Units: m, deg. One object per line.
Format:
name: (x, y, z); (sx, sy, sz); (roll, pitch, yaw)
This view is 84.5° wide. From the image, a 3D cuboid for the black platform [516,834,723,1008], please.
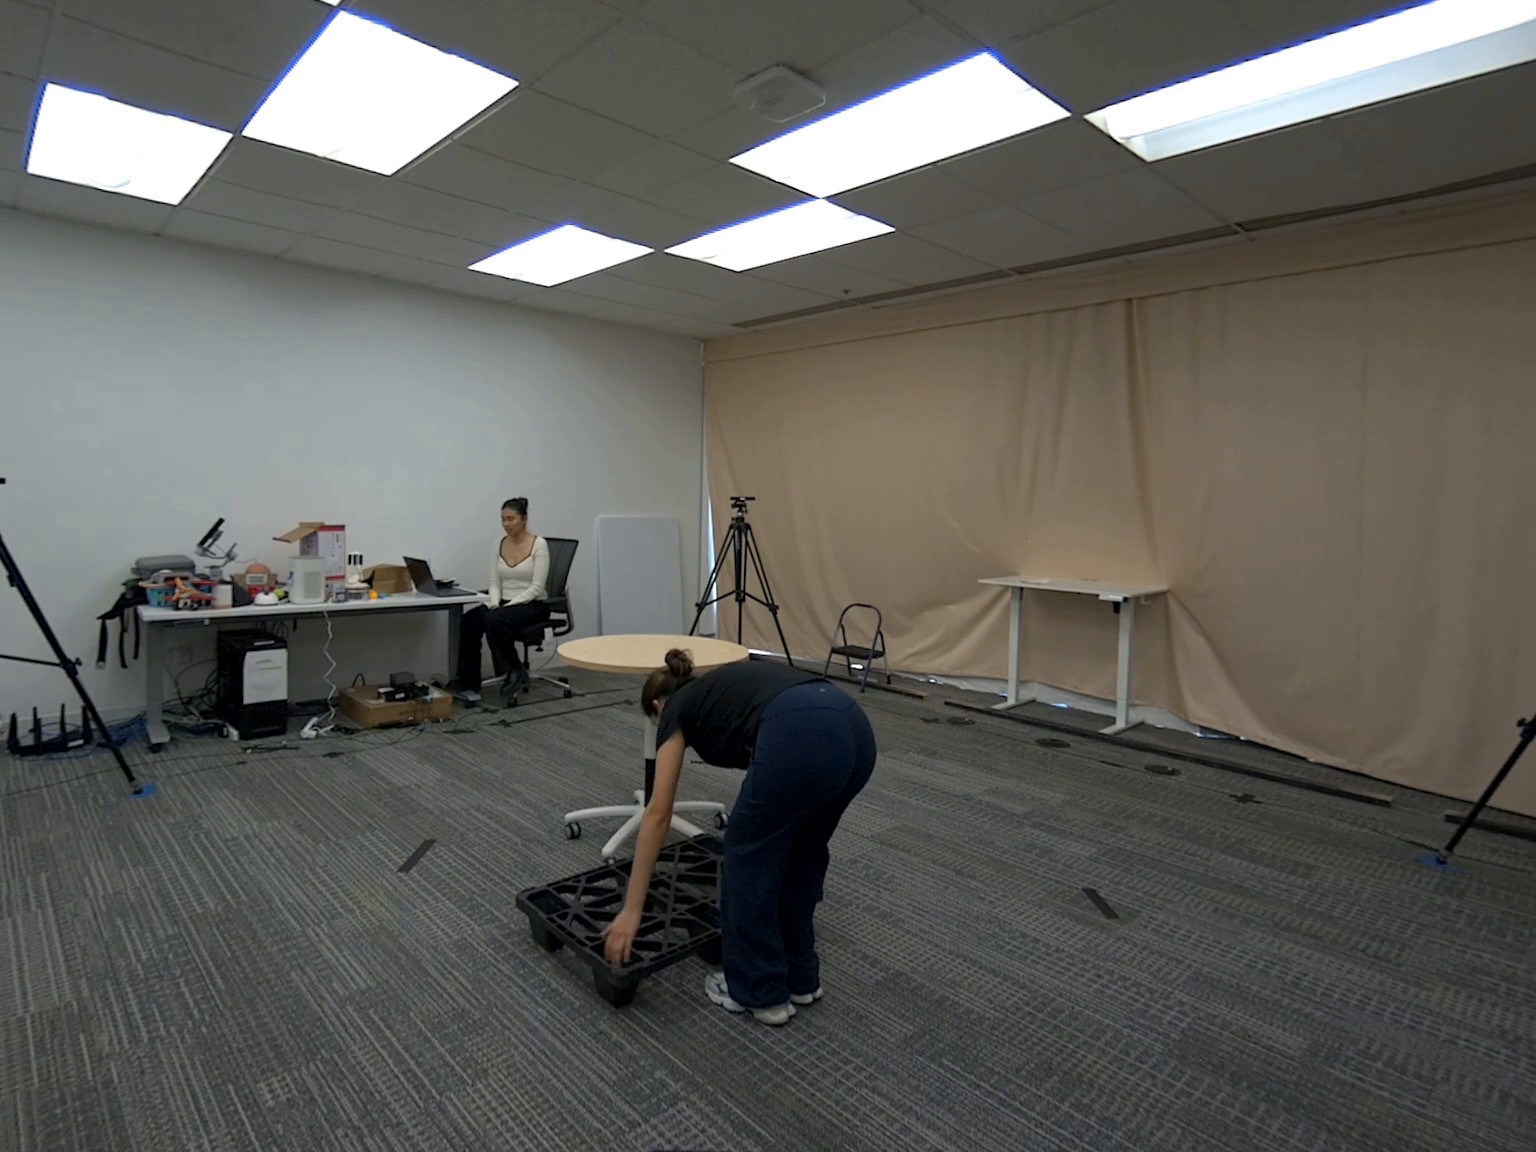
black platform: (-0.304, 1.078, 2.678); (0.787, 0.143, 0.621); (-4, 8, -43)
